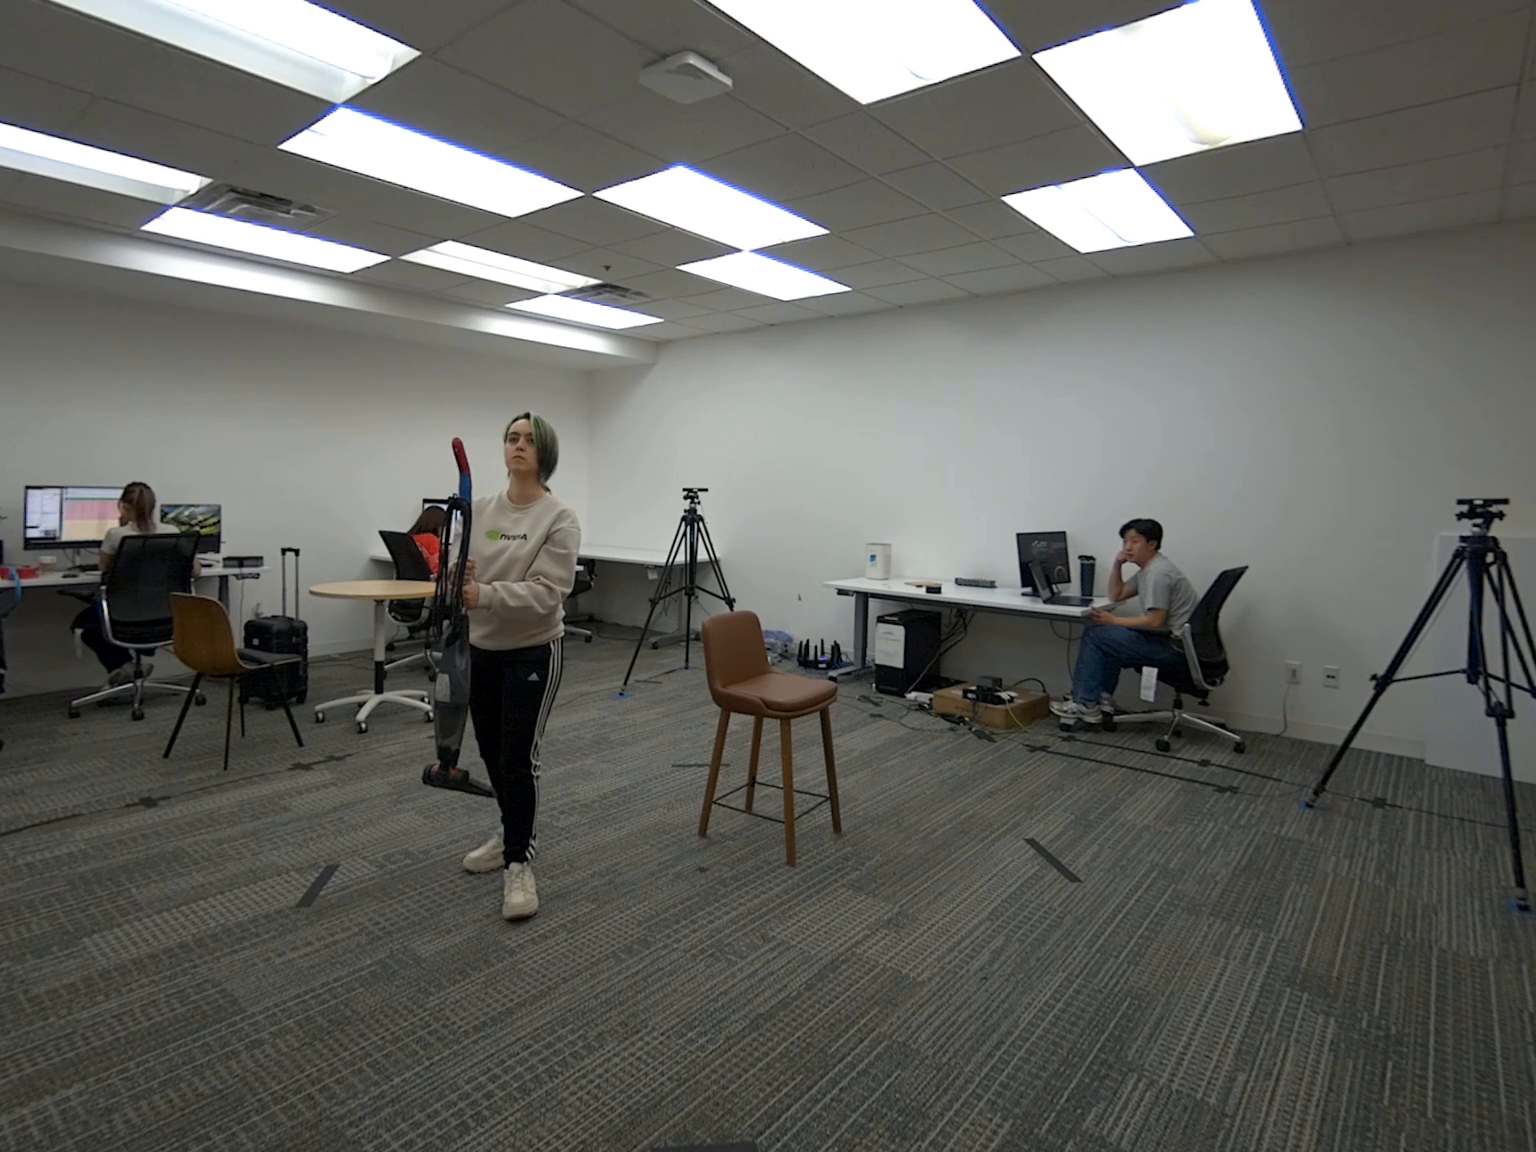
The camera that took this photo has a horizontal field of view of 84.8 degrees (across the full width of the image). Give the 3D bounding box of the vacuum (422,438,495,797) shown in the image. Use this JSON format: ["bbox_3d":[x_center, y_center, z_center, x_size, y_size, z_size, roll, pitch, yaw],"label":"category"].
[{"bbox_3d":[-0.958,0.120,2.562,0.258,1.043,0.142,4,7,18],"label":"vacuum"}]
